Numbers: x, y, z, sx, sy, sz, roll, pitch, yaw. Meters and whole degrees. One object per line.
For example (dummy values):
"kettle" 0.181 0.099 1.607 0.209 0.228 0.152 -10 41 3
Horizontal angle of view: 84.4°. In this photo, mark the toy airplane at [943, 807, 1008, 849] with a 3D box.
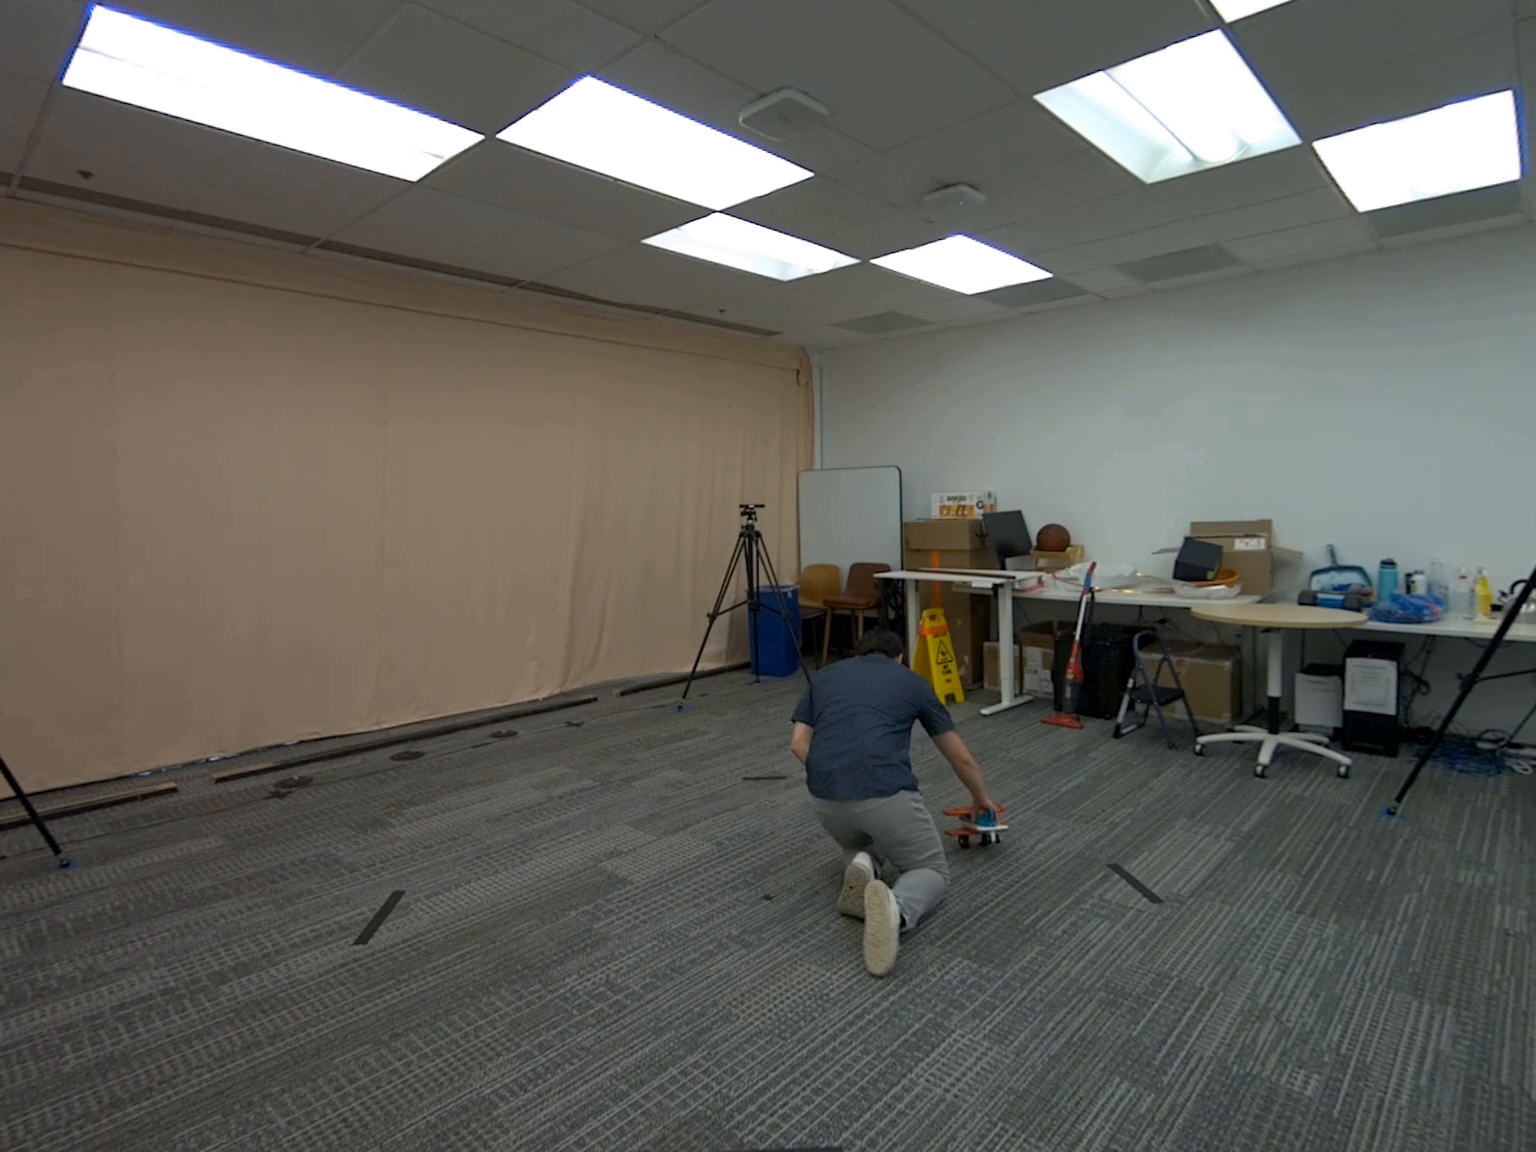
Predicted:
"toy airplane" 0.862 0.993 3.342 0.243 0.159 0.264 12 -28 -36
